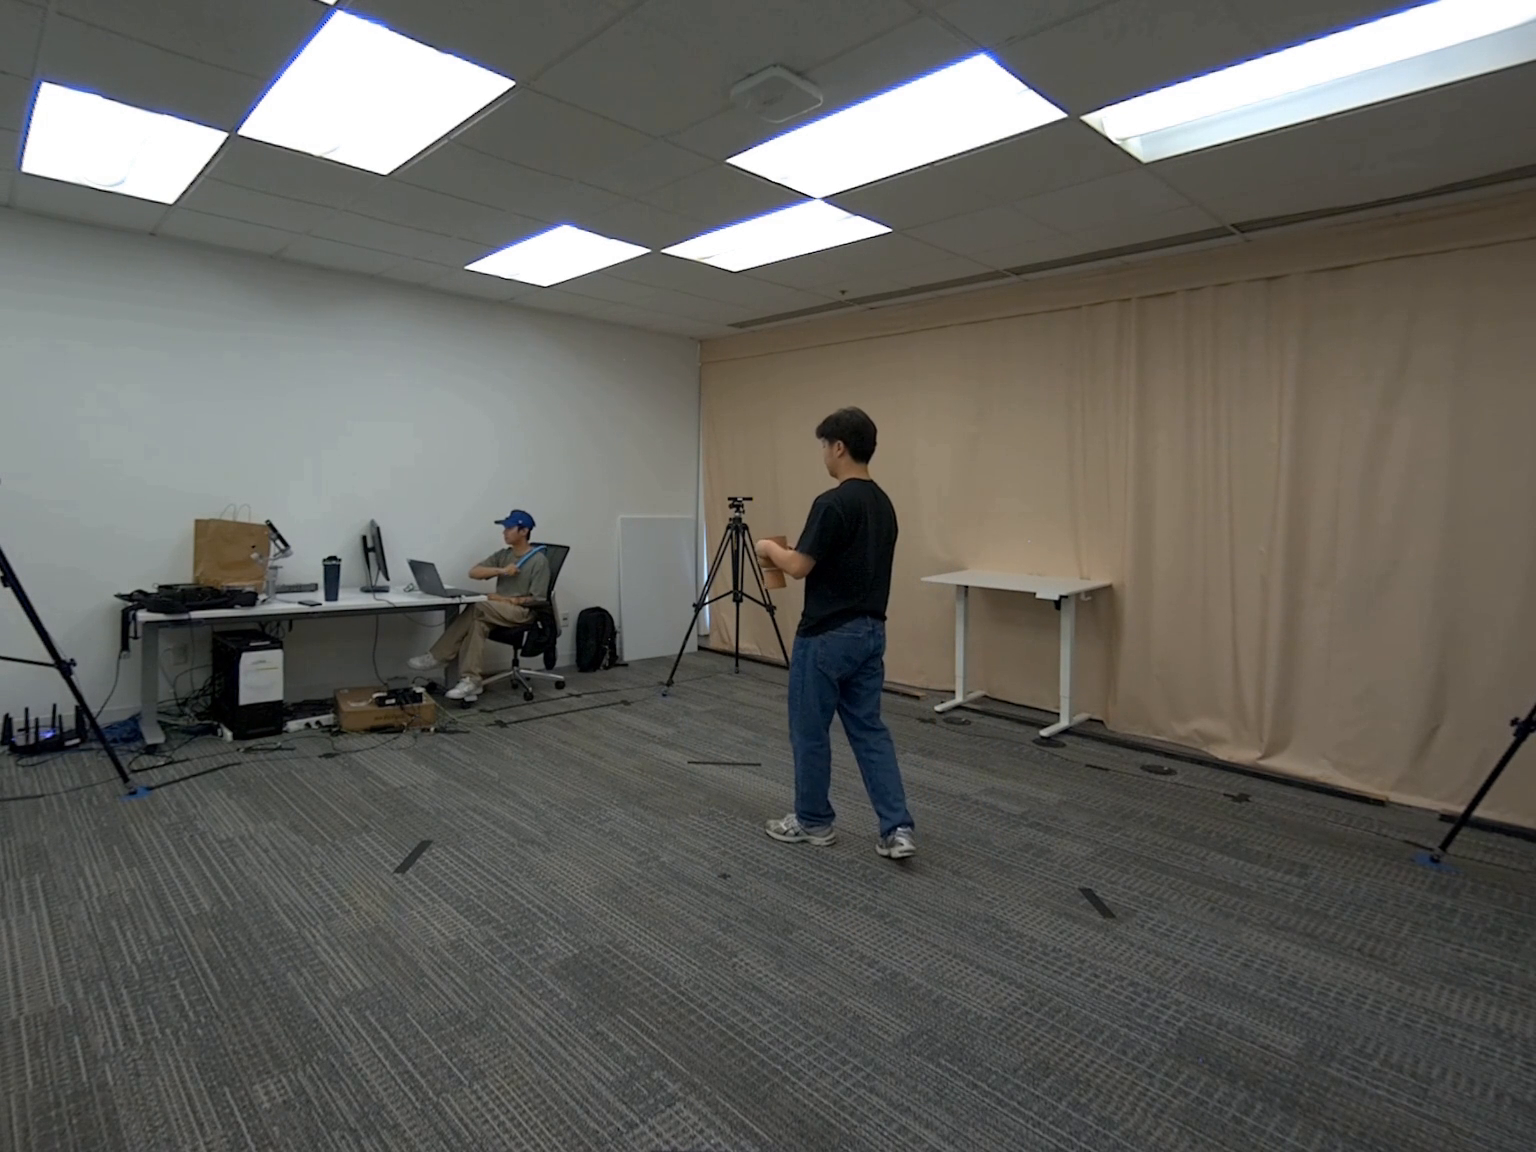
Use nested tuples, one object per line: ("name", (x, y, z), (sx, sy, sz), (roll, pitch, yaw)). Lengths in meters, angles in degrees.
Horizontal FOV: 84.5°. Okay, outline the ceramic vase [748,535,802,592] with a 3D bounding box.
("ceramic vase", (0.026, -0.054, 3.598), (0.155, 0.220, 0.137), (-4, -1, -35))
